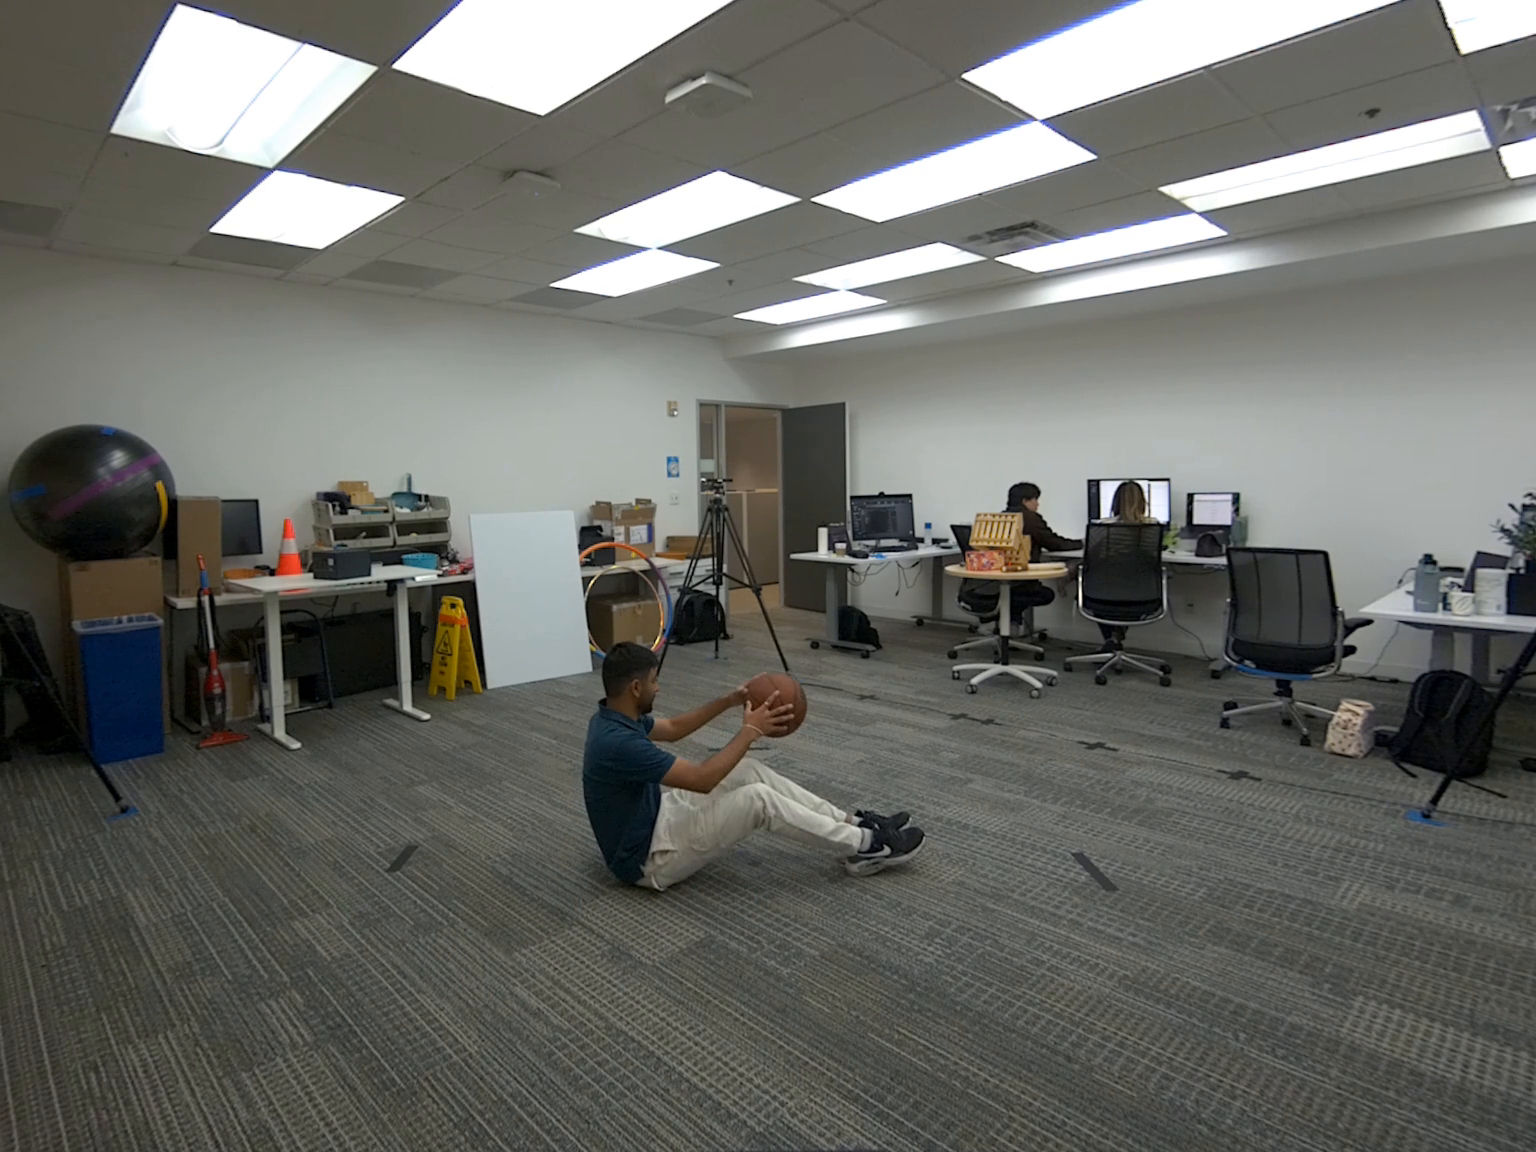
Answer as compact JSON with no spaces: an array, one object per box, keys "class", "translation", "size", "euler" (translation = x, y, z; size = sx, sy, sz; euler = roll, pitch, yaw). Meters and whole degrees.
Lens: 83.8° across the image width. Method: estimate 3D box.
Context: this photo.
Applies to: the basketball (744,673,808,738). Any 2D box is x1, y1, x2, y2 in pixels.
[{"class":"basketball","translation":[0.014,0.500,3.181],"size":[0.236,0.235,0.237],"euler":[-1,5,-2]}]
